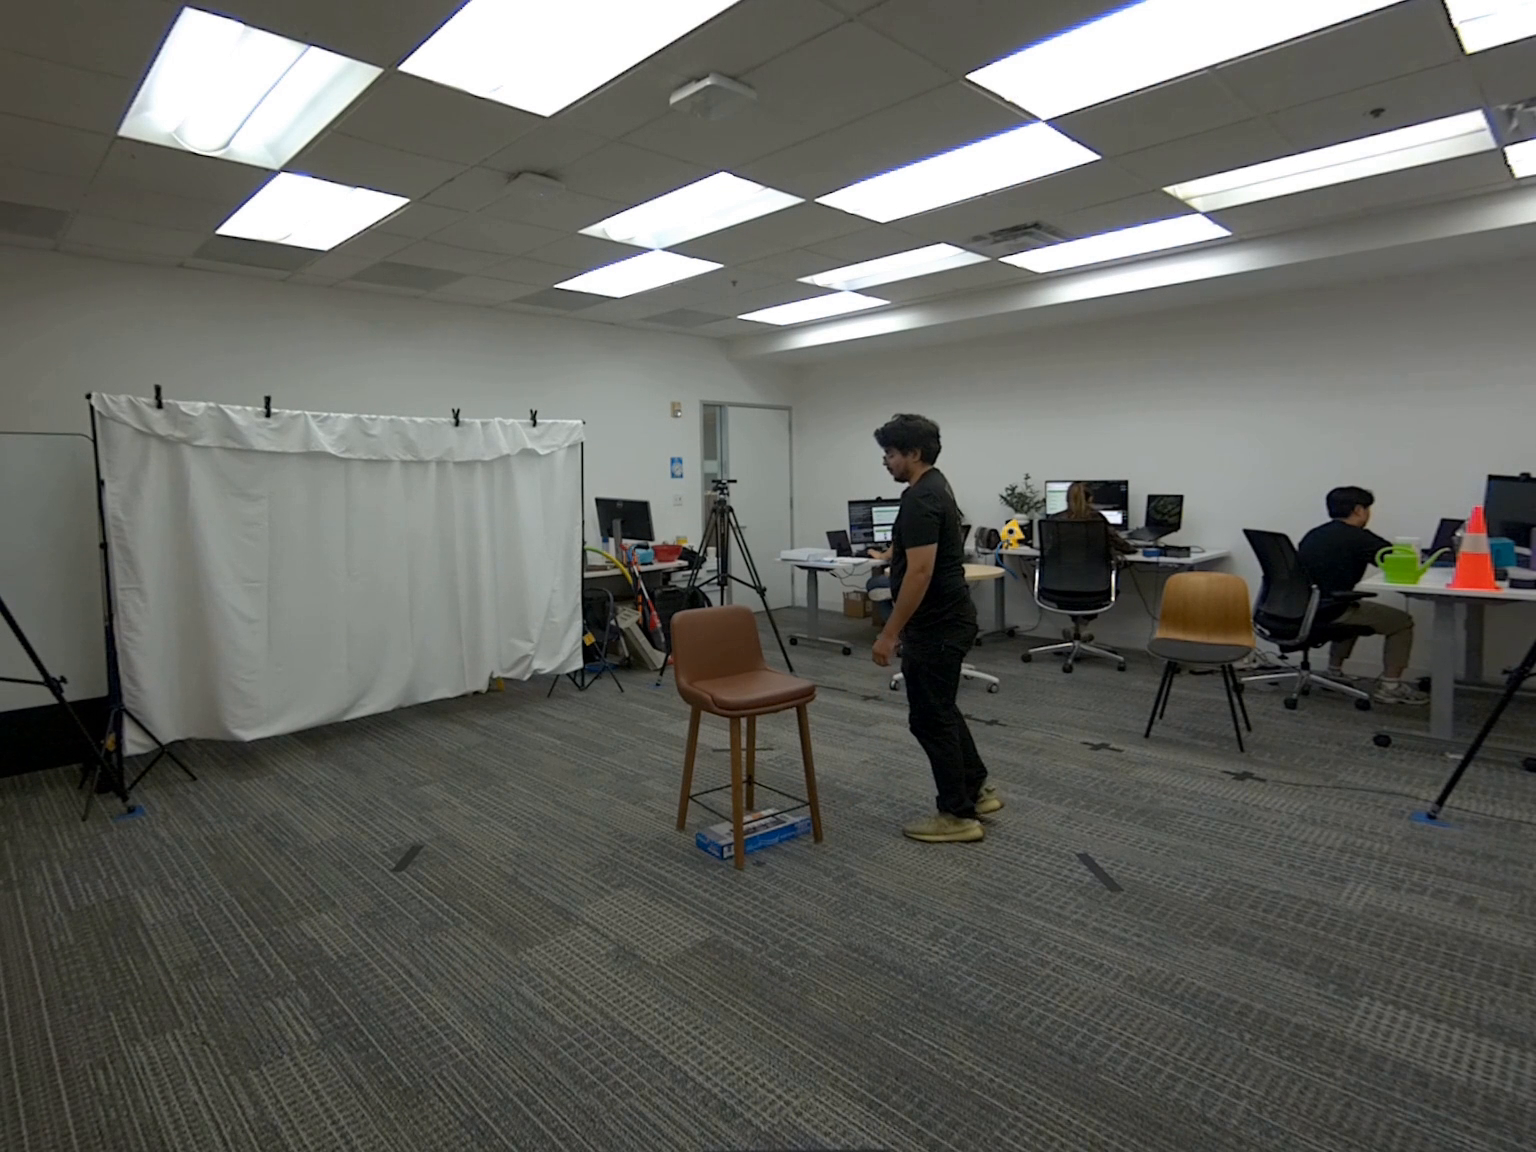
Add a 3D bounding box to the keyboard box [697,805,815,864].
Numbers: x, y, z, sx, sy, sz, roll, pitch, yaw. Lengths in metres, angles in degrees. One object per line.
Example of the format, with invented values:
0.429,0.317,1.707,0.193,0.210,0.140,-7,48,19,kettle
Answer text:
-0.046,0.995,3.327,0.426,0.059,0.181,-6,7,-37,keyboard box
